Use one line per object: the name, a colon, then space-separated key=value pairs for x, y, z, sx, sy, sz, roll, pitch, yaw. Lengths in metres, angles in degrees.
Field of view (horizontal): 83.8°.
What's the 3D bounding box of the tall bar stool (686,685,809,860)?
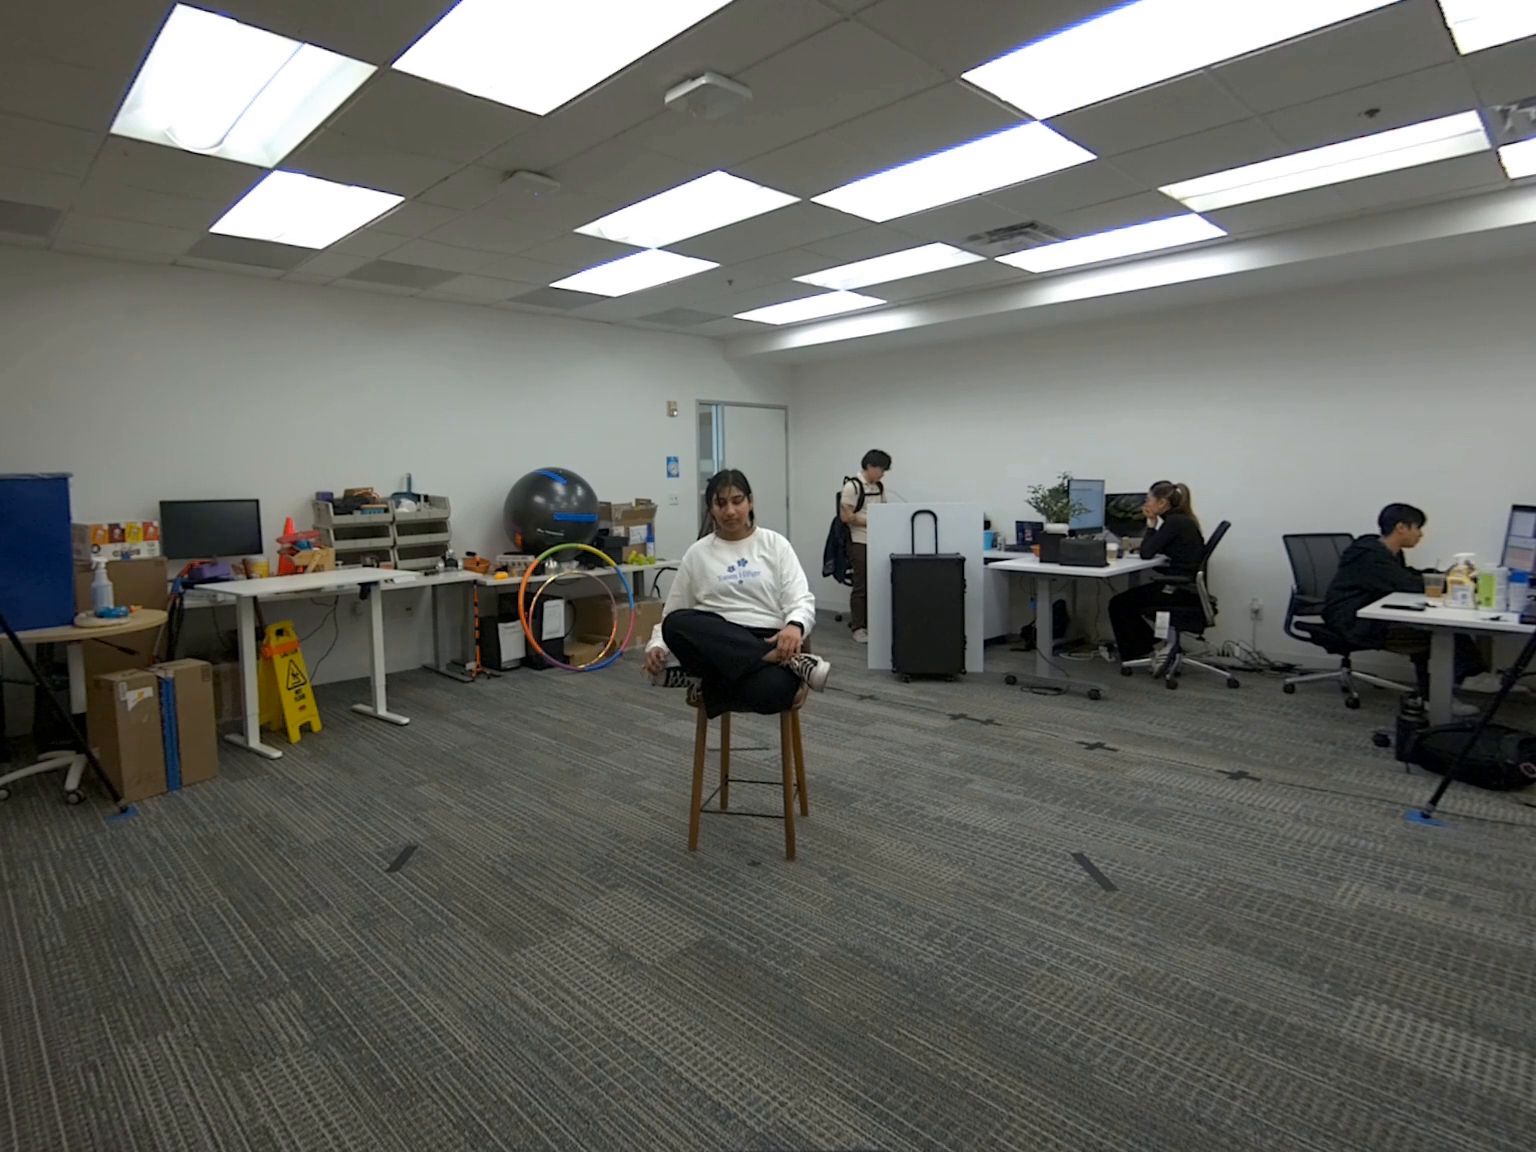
tall bar stool: x=-0.059 y=0.585 z=3.373 sx=0.463 sy=0.889 sz=0.461 roll=0 pitch=2 yaw=14
